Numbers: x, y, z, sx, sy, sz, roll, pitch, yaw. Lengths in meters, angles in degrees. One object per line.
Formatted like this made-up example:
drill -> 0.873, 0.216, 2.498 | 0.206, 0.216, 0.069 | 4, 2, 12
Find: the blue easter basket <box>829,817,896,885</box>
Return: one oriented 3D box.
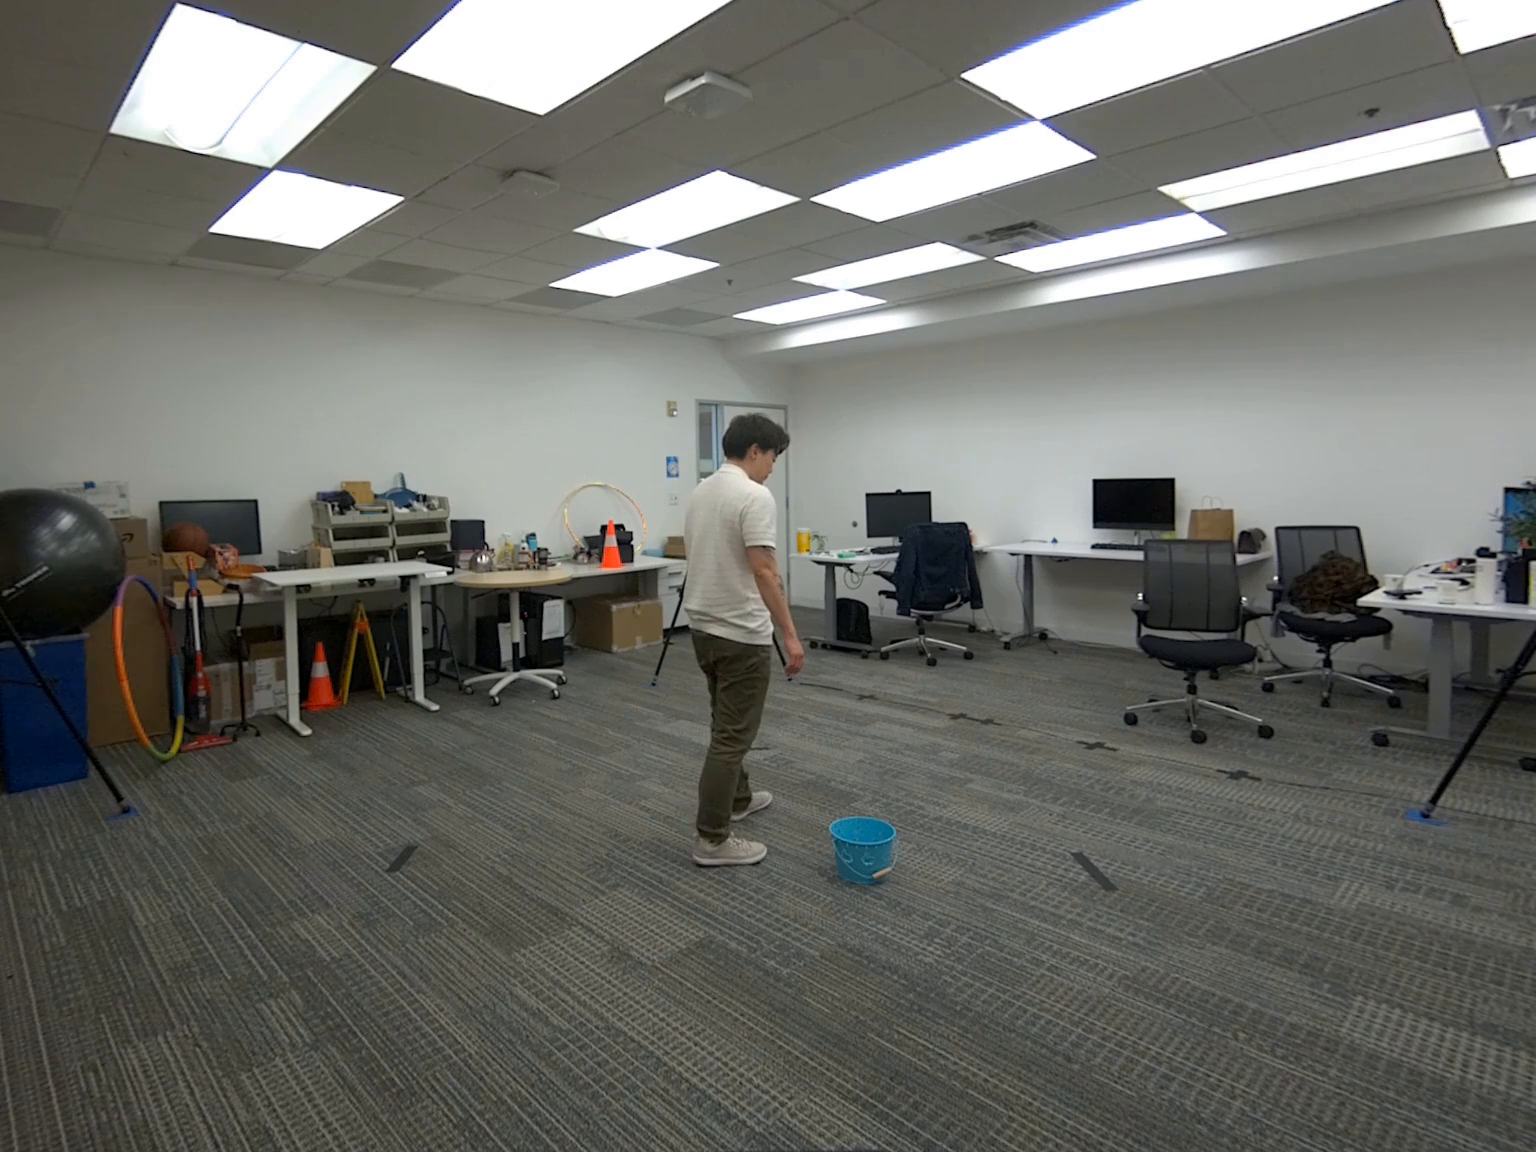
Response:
blue easter basket -> 0.337, 0.971, 3.014 | 0.243, 0.155, 0.245 | -2, 6, -1
